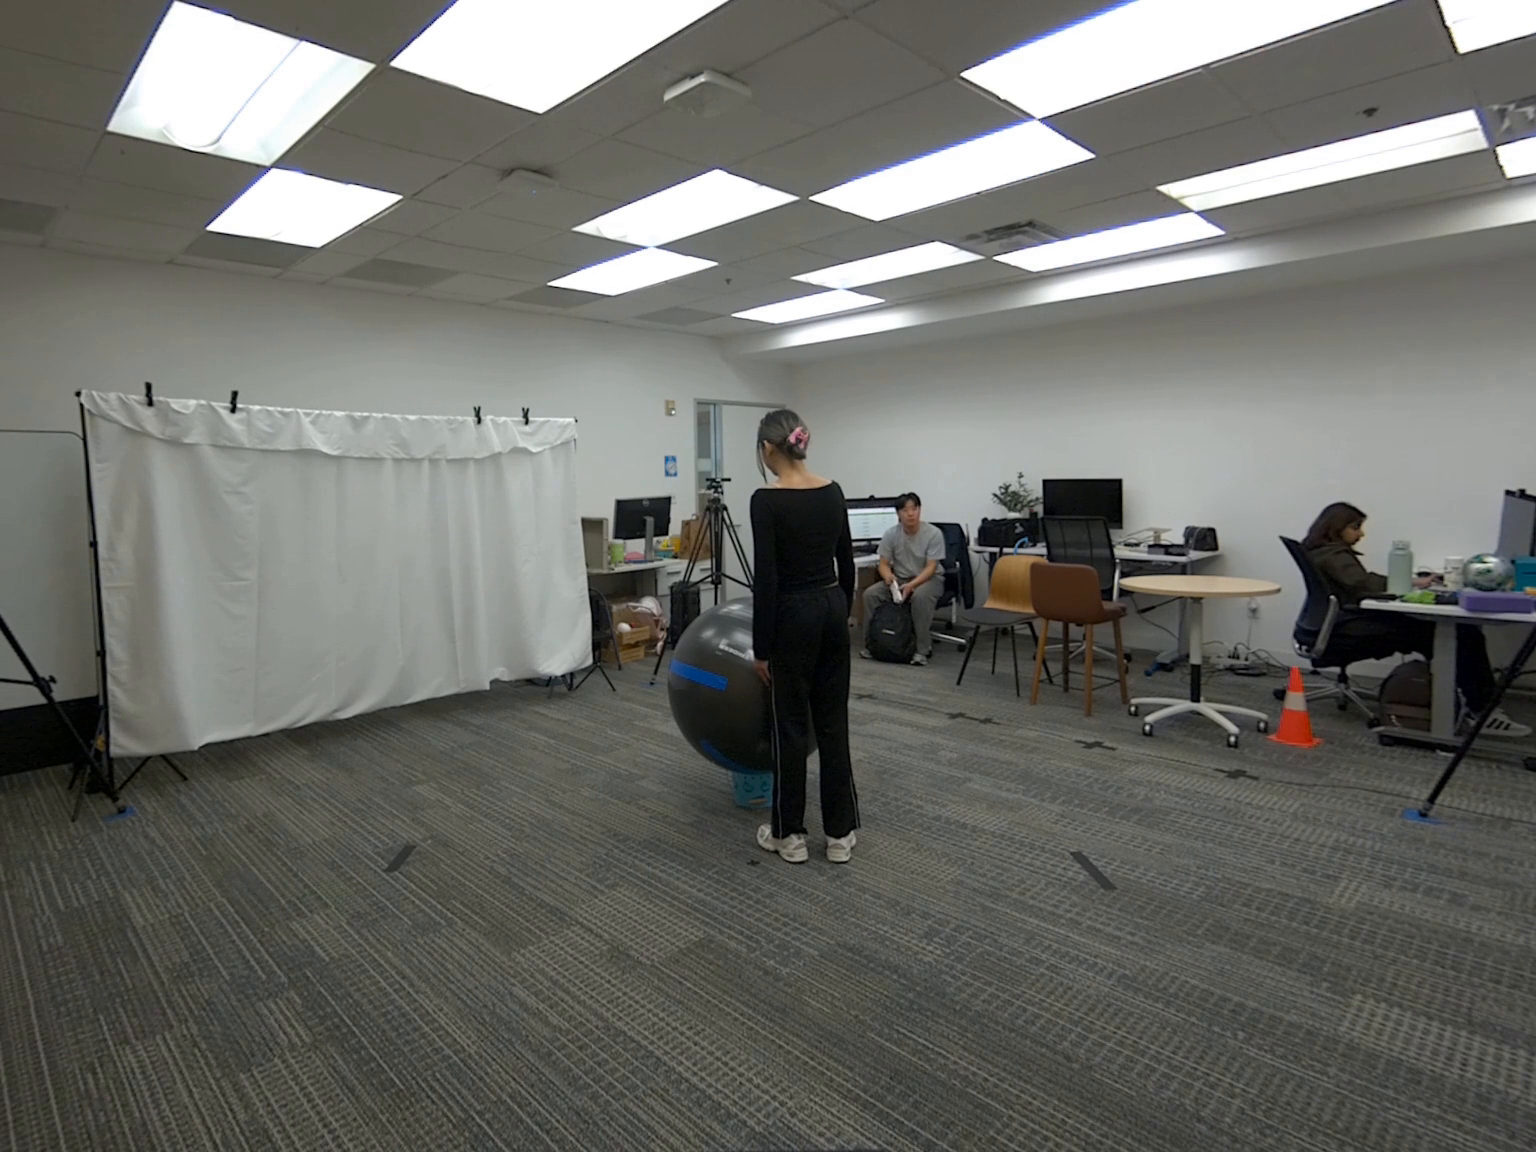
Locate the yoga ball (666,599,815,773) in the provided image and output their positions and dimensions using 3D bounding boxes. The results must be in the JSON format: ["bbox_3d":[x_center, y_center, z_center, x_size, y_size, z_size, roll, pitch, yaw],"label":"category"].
[{"bbox_3d":[-0.058,0.469,3.693,0.757,0.755,0.762,-1,5,-2],"label":"yoga ball"}]
